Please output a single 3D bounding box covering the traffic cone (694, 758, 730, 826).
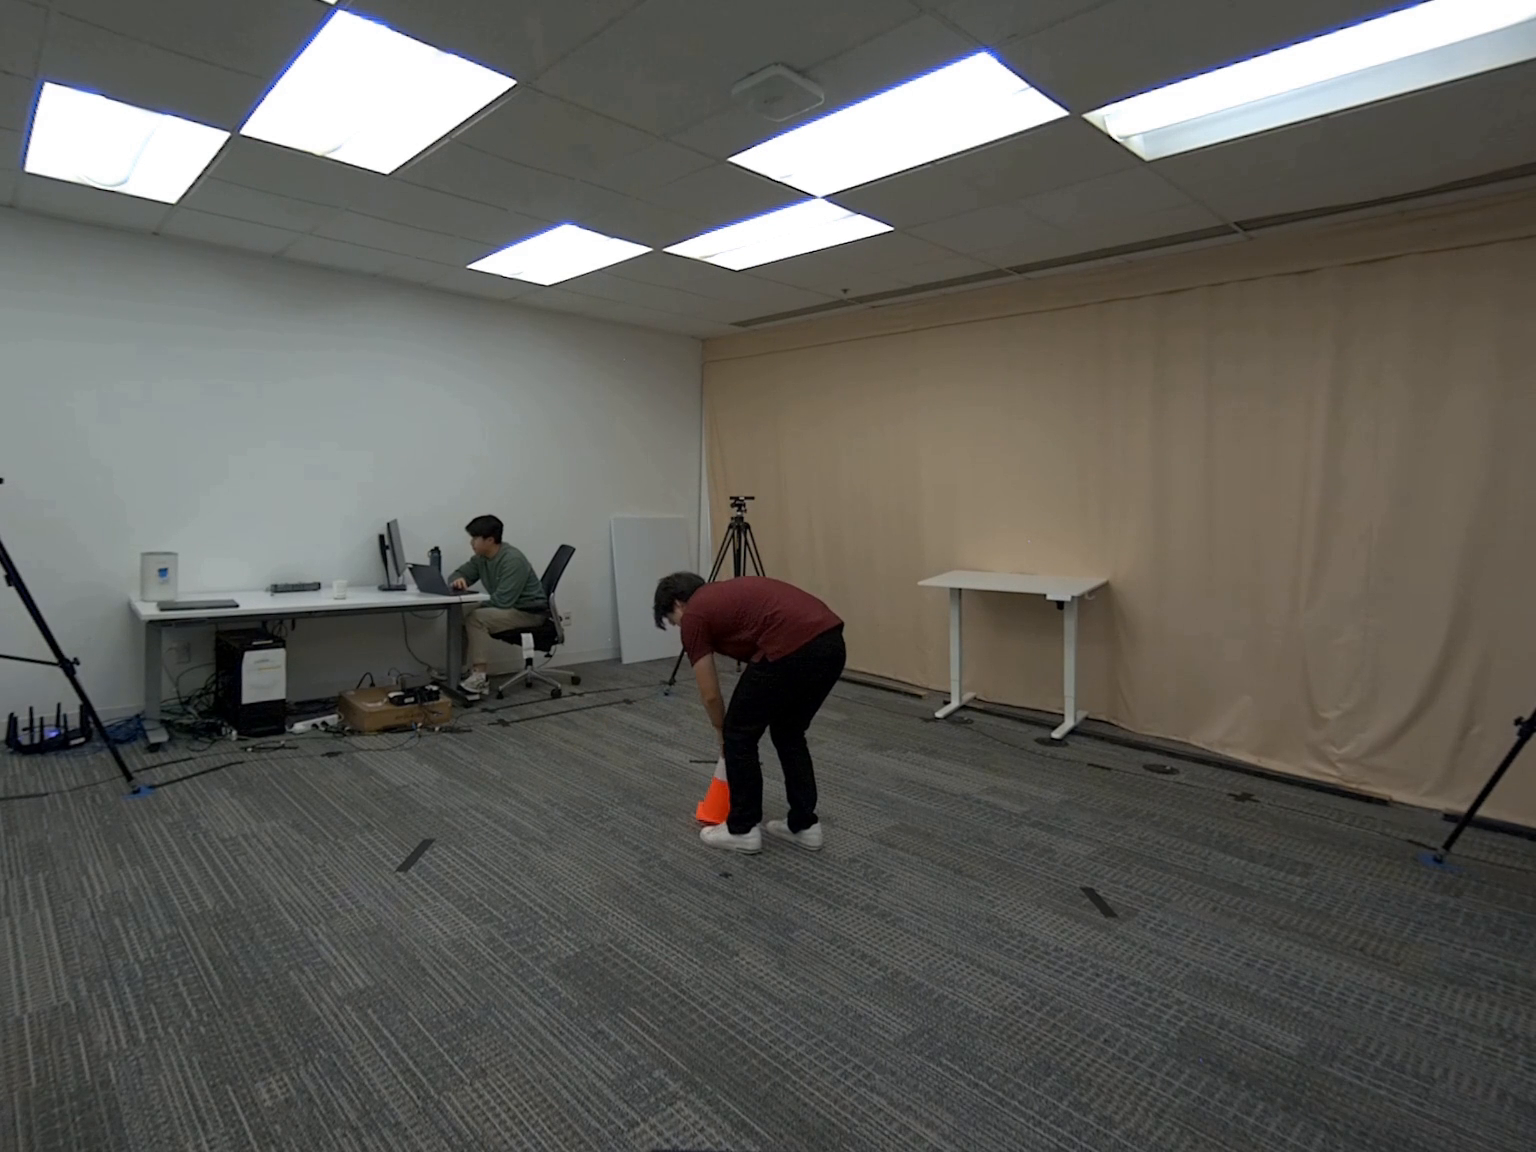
[{"bbox_3d":[-0.188,0.842,3.646,0.203,0.382,0.205,9,5,0],"label":"traffic cone"}]
